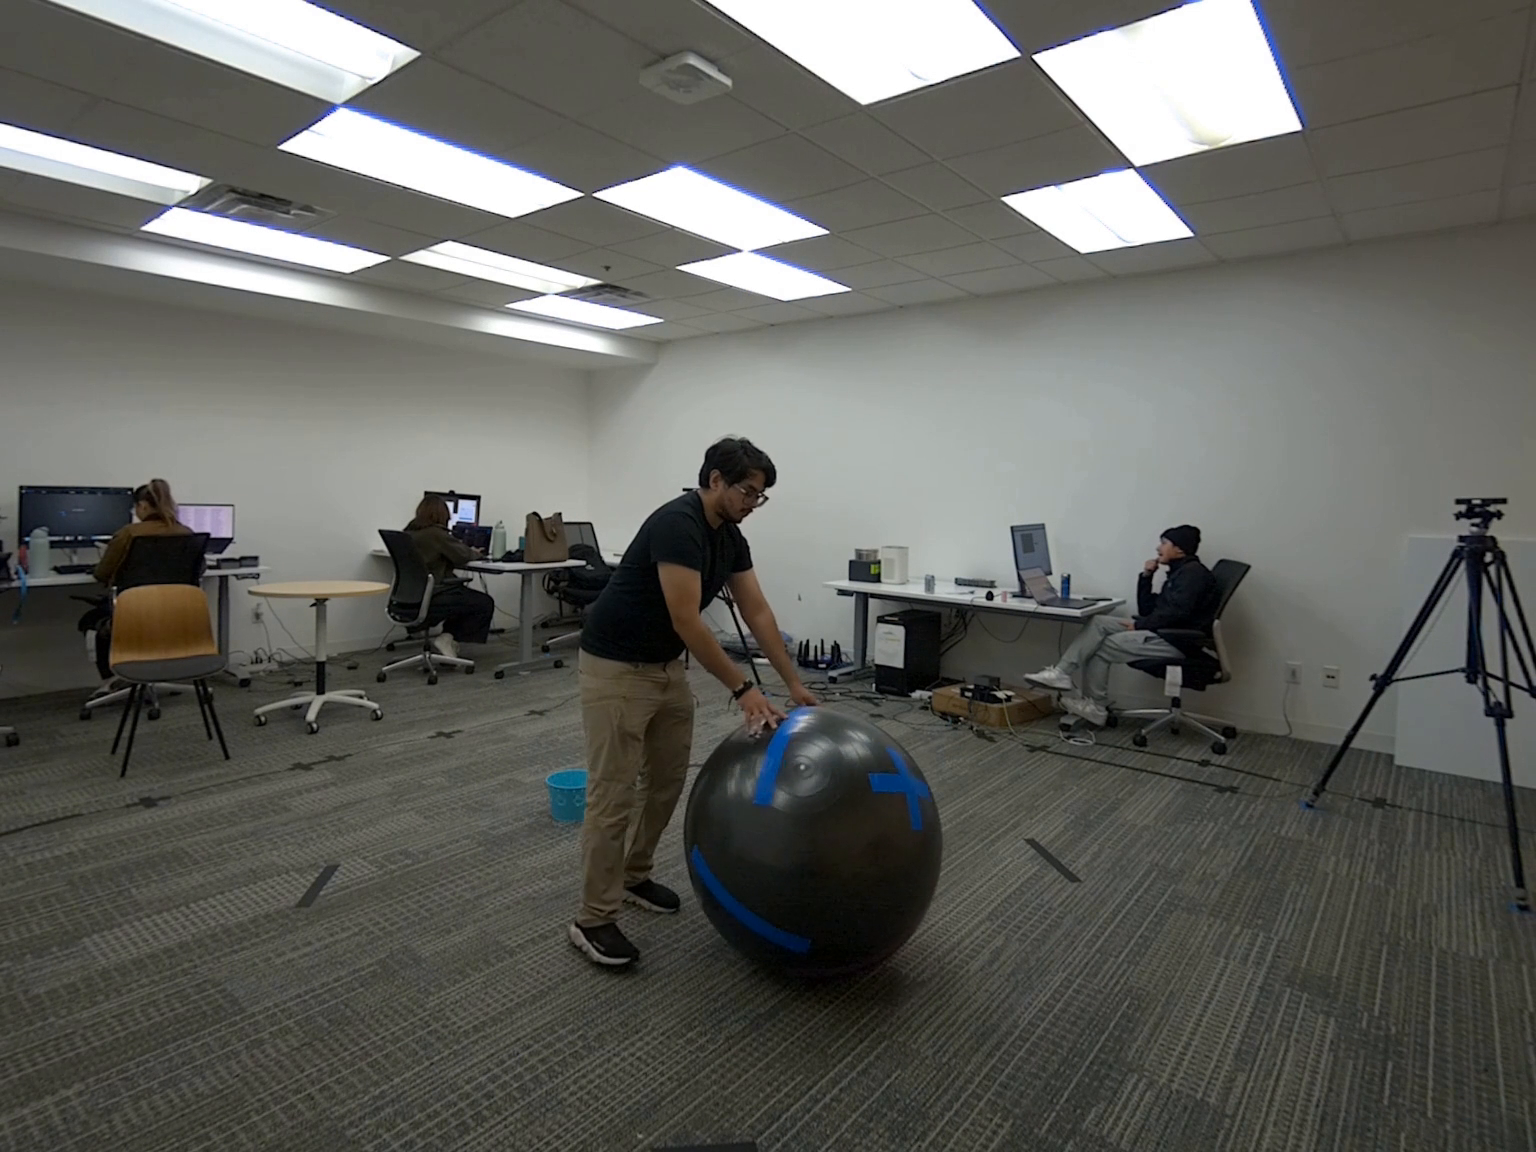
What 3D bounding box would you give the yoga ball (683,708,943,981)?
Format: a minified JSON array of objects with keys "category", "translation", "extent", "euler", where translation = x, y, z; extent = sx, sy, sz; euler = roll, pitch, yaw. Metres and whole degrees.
[{"category":"yoga ball","translation":[0.128,0.786,2.507],"extent":[0.757,0.755,0.762],"euler":[1,4,-2]}]
